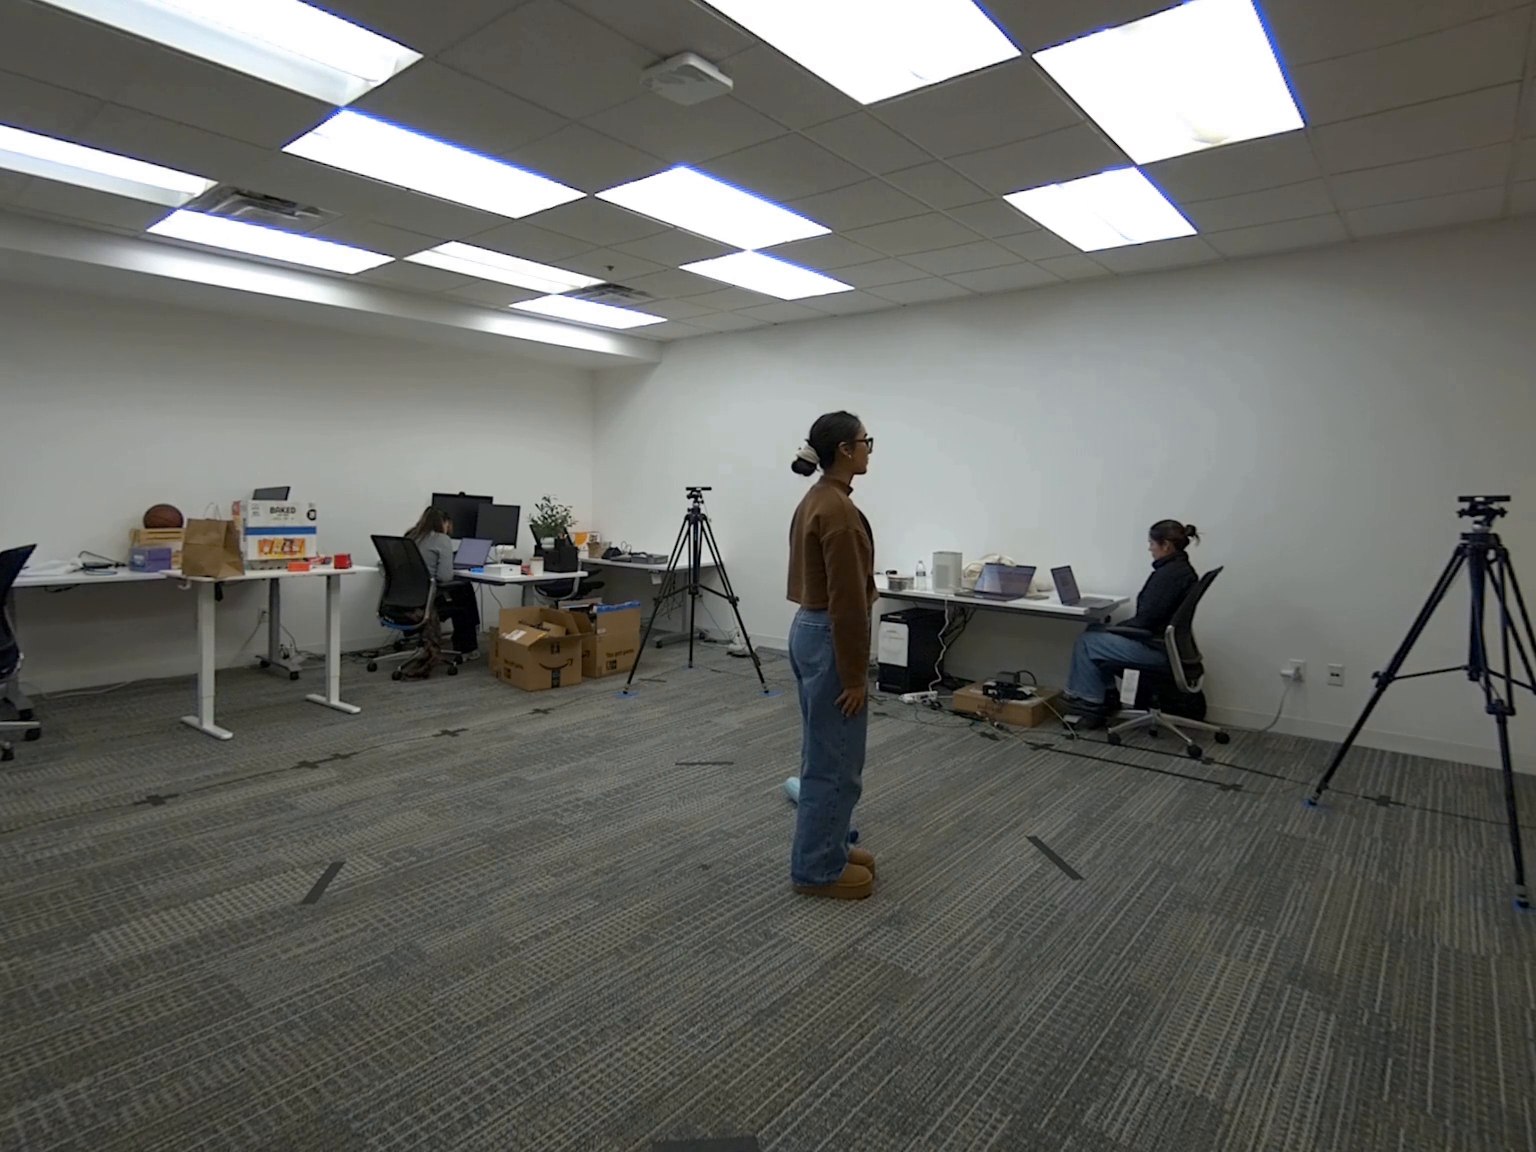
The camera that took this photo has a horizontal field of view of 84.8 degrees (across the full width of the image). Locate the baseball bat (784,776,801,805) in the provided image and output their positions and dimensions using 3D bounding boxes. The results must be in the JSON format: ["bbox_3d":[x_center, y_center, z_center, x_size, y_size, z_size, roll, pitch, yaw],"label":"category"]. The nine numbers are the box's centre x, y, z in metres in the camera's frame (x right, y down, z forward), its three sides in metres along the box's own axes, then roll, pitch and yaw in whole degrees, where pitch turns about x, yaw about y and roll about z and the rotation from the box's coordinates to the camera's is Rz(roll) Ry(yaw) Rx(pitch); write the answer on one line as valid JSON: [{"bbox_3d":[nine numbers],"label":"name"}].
[{"bbox_3d":[0.216,0.980,3.603,0.087,0.088,0.559,-1,8,-24],"label":"baseball bat"}]
